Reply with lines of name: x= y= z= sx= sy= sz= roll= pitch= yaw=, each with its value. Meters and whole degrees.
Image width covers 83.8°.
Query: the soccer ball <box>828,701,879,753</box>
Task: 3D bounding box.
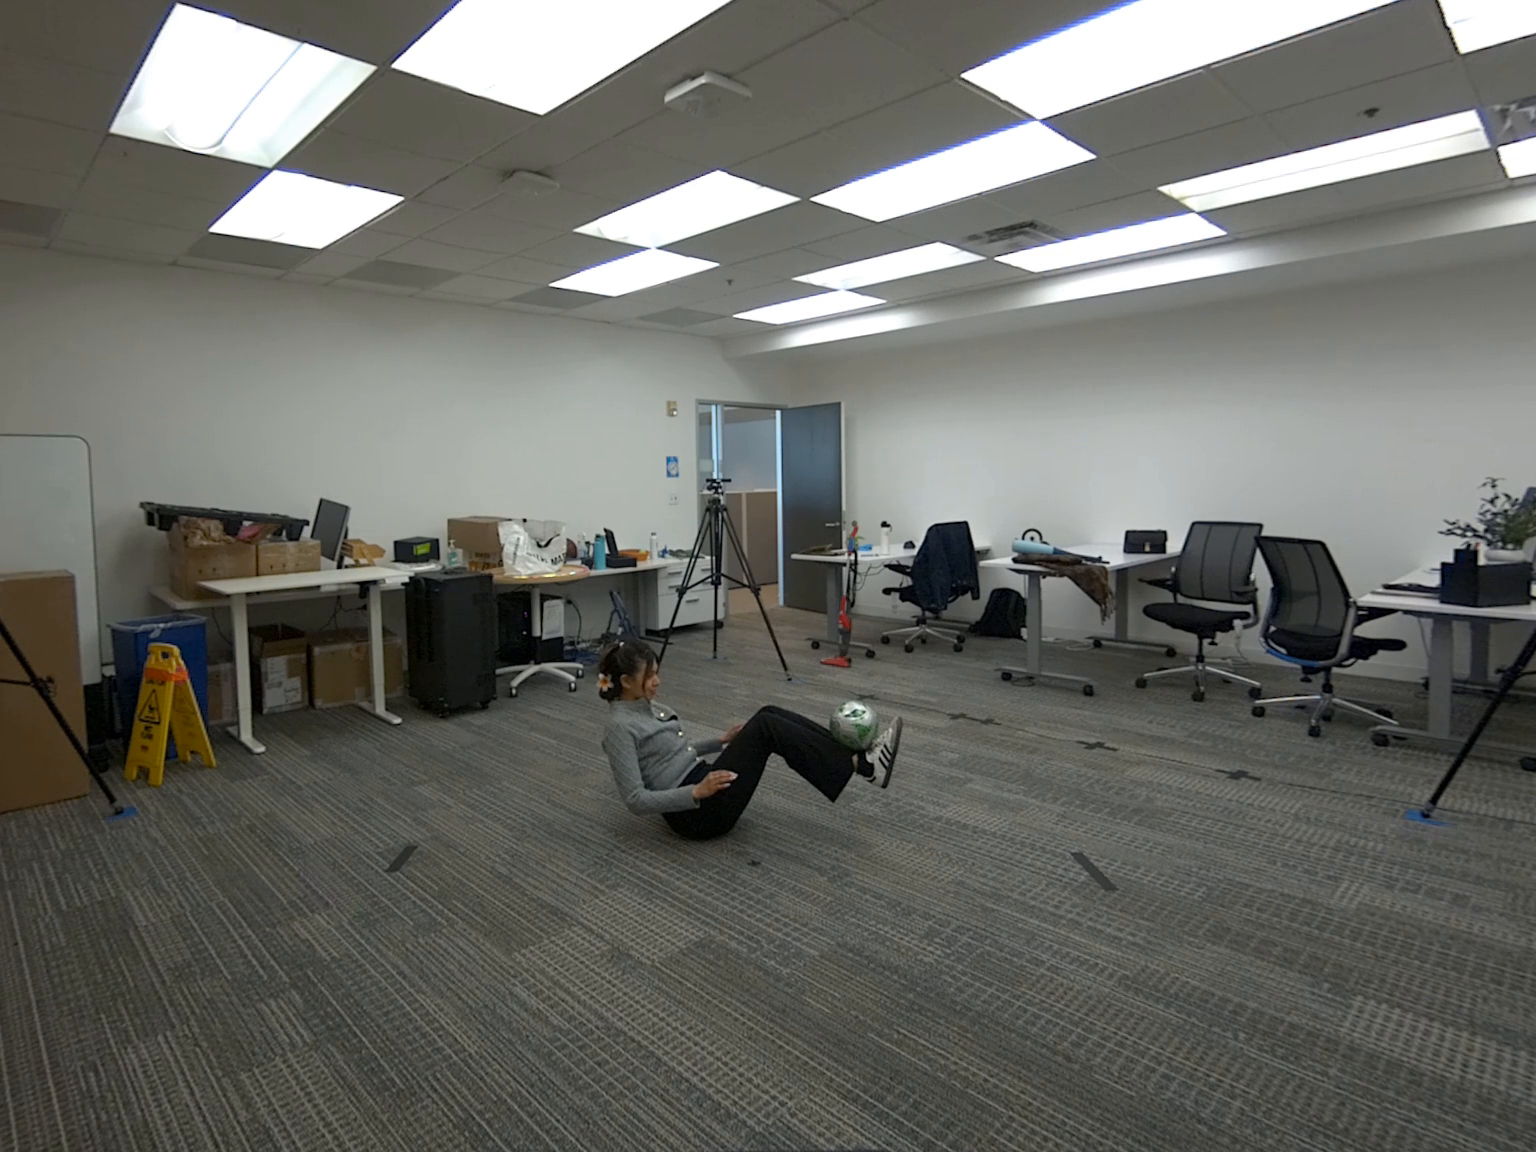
soccer ball: x=0.331 y=0.574 z=3.269 sx=0.187 sy=0.187 sz=0.188 roll=-1 pitch=5 yaw=-2
